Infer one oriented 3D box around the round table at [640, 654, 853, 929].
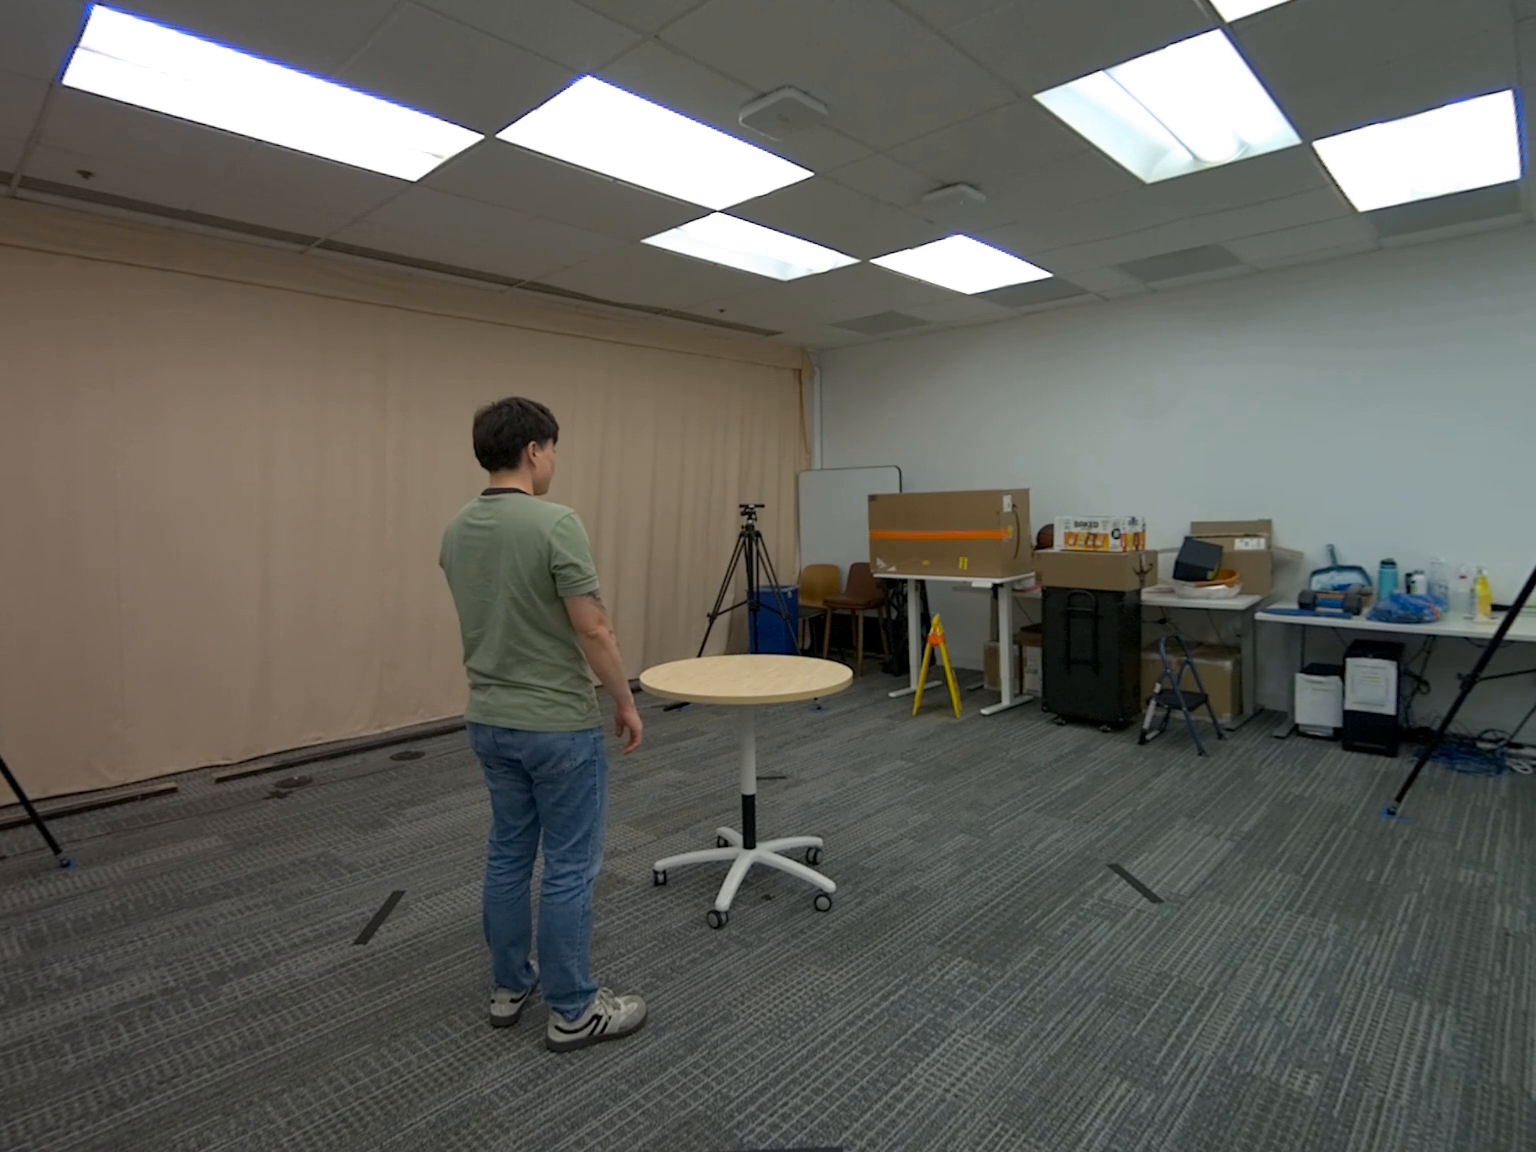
[{"bbox_3d":[-0.064,0.746,3.065,0.763,0.792,0.766,-2,4,-2],"label":"round table"}]
